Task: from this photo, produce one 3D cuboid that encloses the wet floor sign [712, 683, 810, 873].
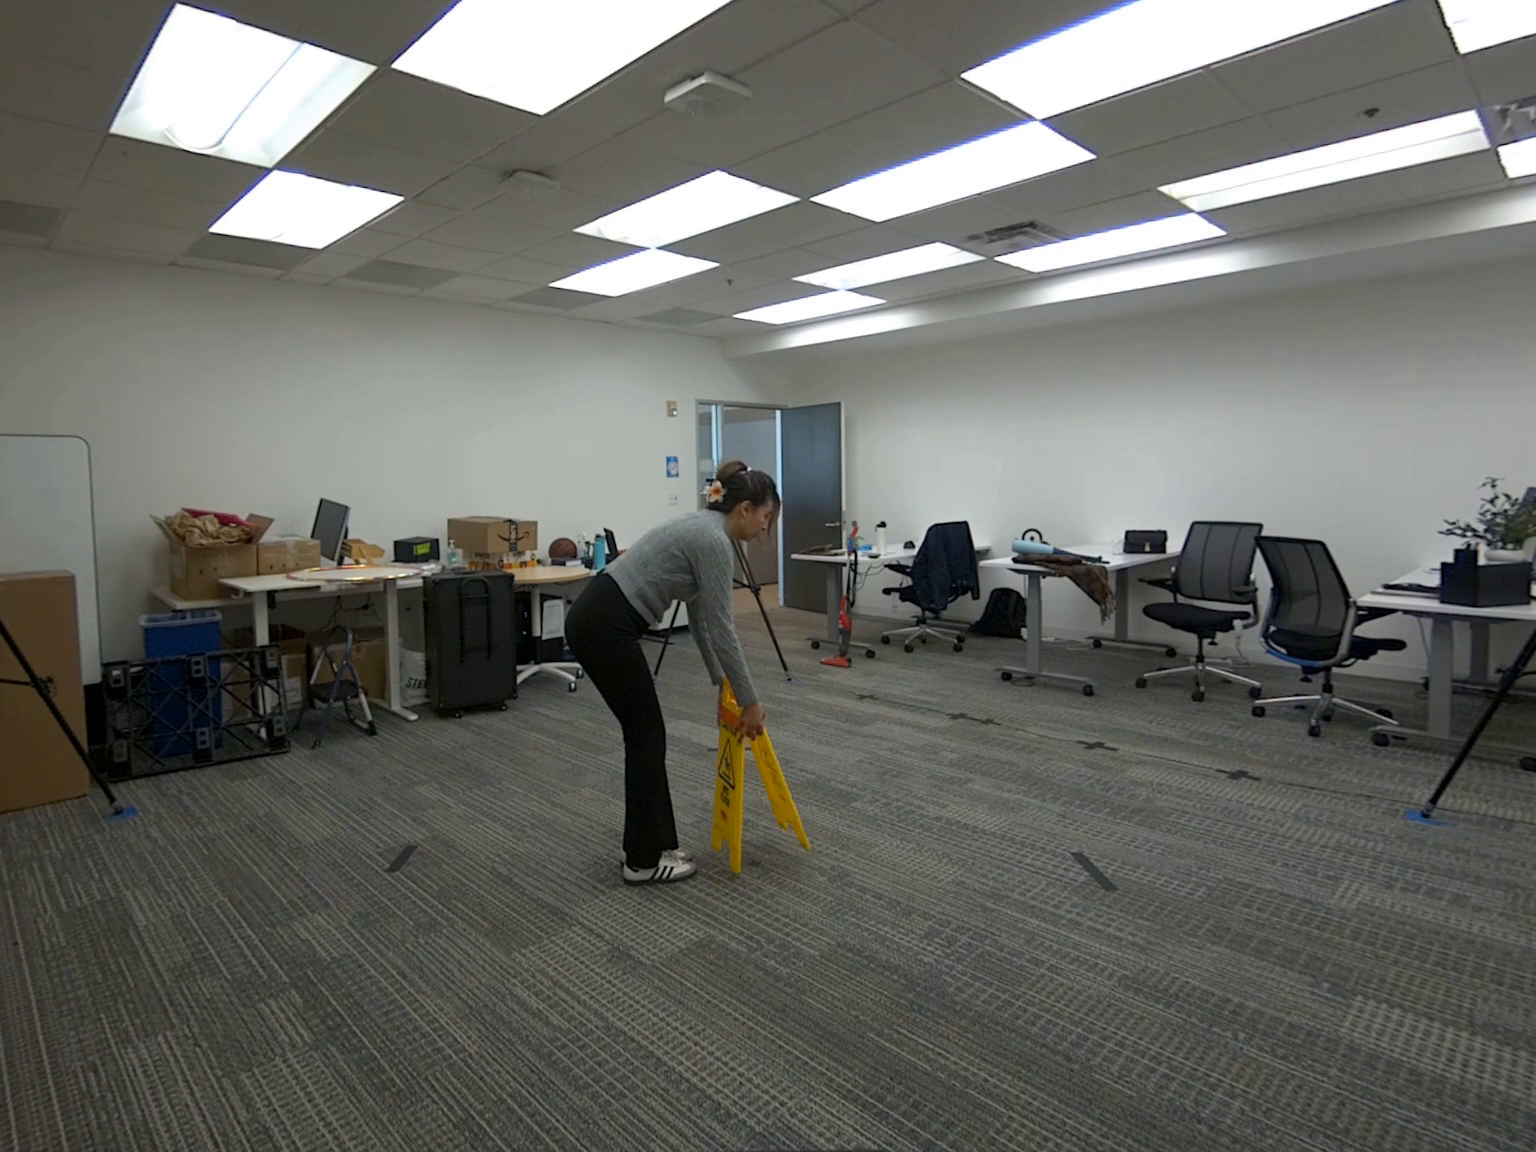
[{"bbox_3d":[-0.067,0.679,3.115,0.285,0.641,0.288,-10,7,-20],"label":"wet floor sign"}]
